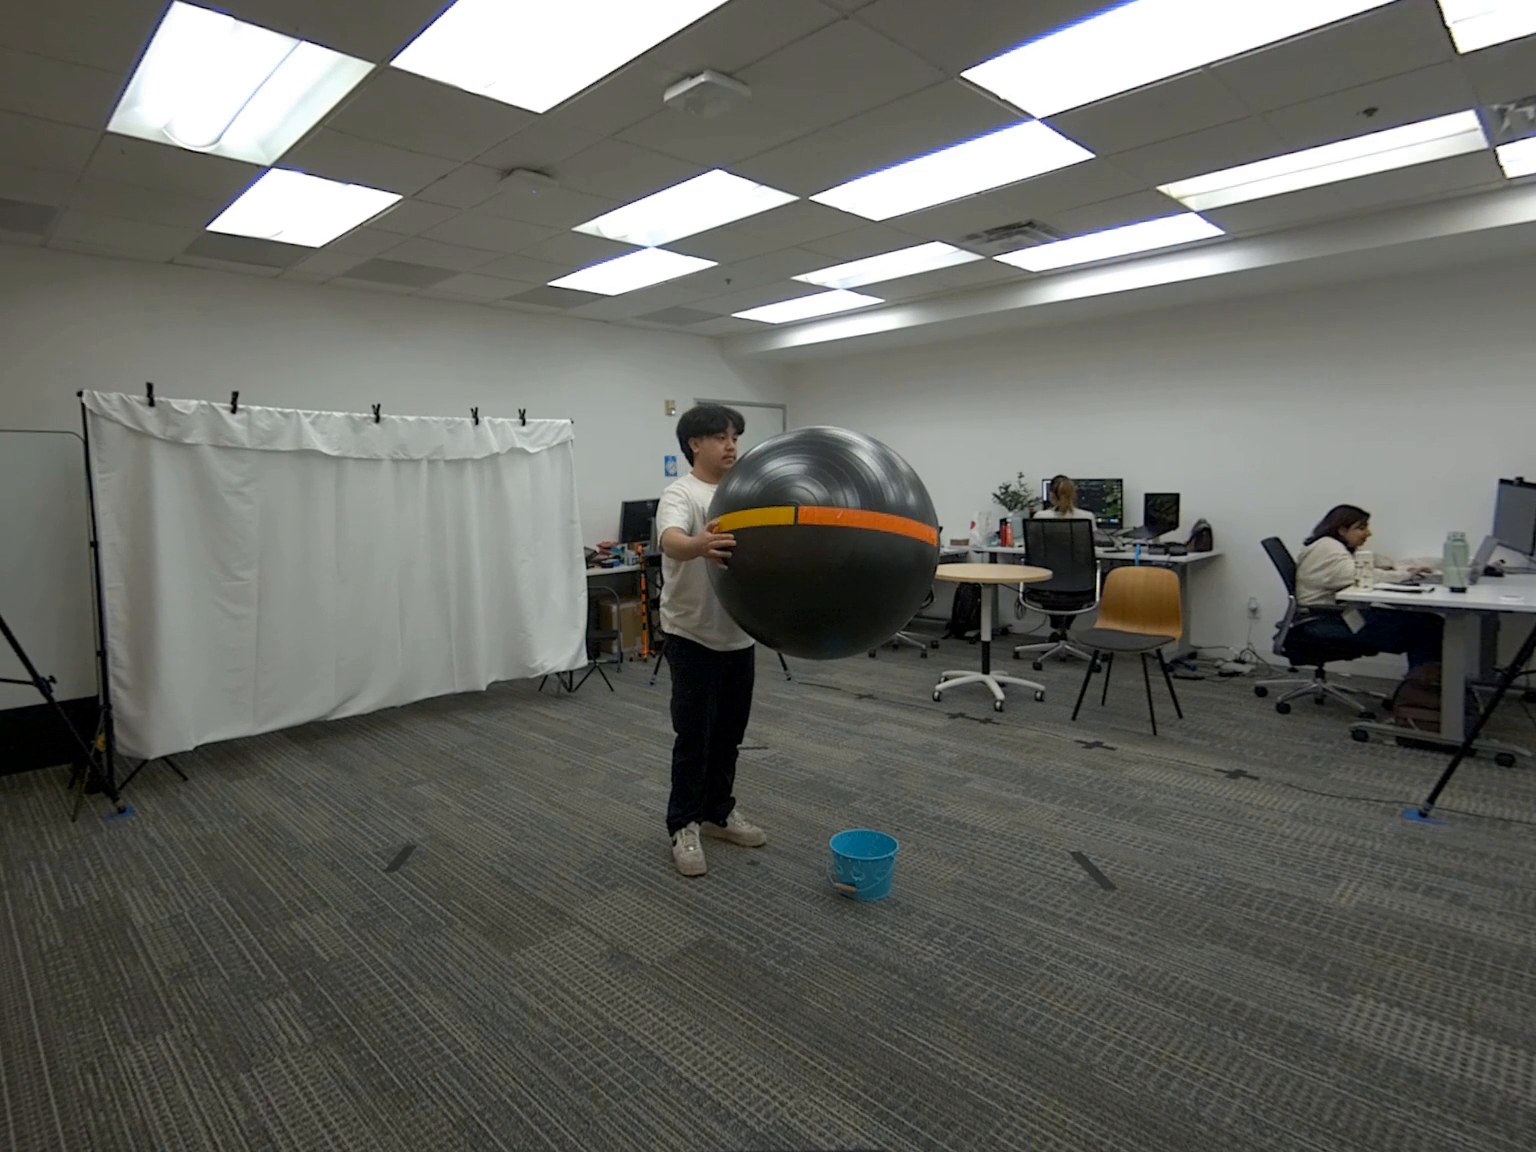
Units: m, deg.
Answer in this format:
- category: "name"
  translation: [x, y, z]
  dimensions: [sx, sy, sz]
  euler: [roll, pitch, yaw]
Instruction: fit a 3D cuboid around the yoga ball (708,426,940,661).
- category: "yoga ball"
  translation: [0.174, -0.102, 2.781]
  dimensions: [0.757, 0.755, 0.762]
  euler: [-1, 5, -2]
